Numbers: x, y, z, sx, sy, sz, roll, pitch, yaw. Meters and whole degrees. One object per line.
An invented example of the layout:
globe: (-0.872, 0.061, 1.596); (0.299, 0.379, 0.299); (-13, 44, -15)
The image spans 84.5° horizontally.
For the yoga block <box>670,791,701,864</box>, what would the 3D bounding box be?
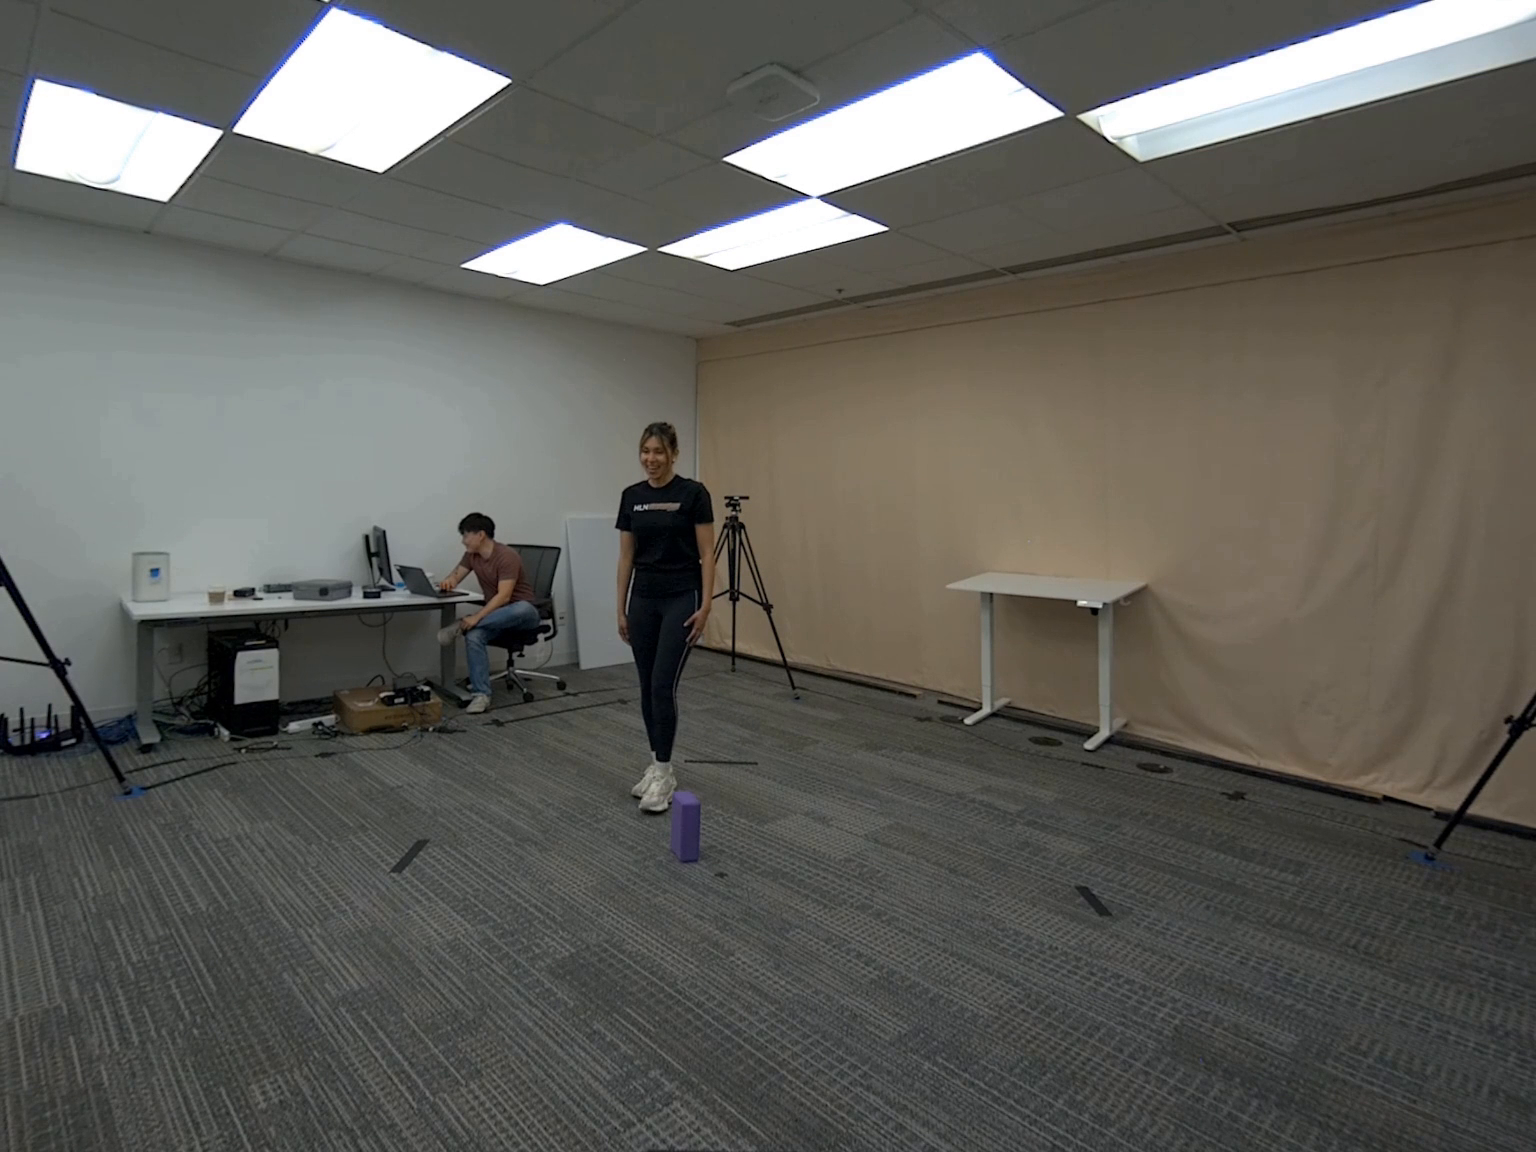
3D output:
yoga block: (-0.328, 0.967, 3.264); (0.075, 0.229, 0.152); (0, 4, -22)
